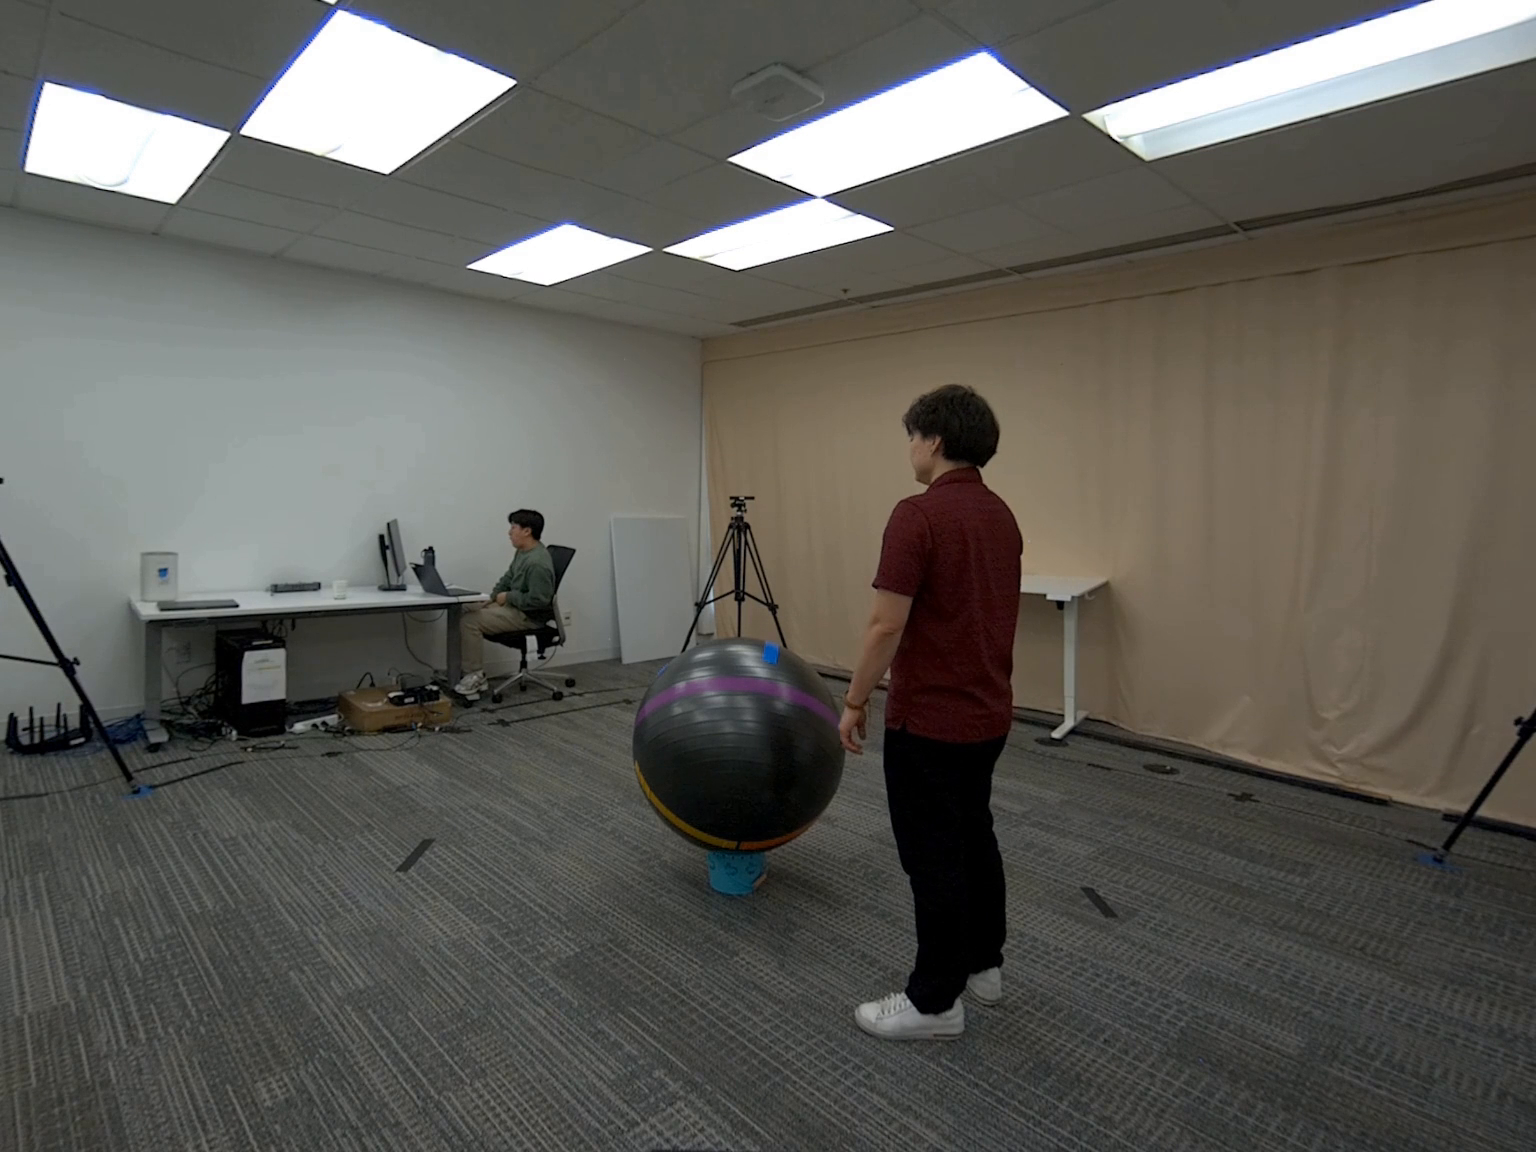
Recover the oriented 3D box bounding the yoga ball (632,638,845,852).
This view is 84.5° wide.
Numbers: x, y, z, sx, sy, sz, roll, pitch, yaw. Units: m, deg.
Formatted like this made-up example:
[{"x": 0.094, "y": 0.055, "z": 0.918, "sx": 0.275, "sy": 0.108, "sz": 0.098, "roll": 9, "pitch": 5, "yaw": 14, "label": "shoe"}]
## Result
[{"x": -0.107, "y": 0.598, "z": 3.027, "sx": 0.757, "sy": 0.756, "sz": 0.761, "roll": 1, "pitch": 4, "yaw": -1, "label": "yoga ball"}]
